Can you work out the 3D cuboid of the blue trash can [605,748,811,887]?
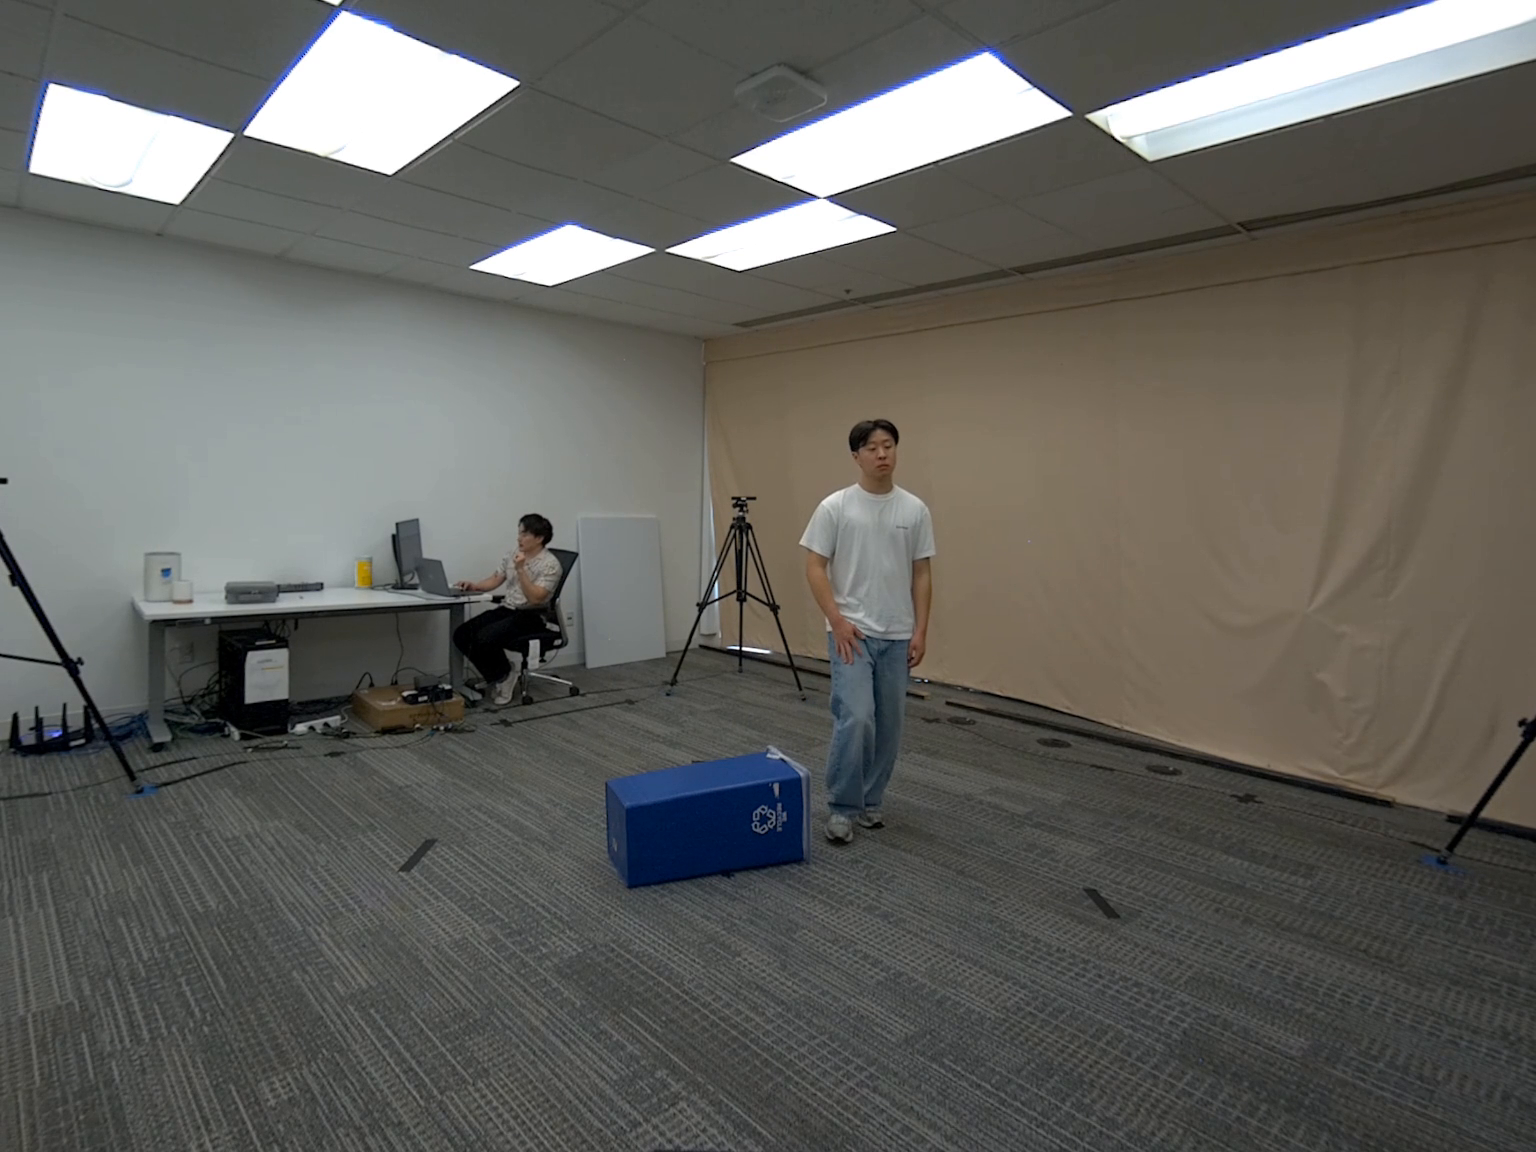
[{"bbox_3d":[-0.244,0.929,3.225,0.702,0.377,0.381,-4,5,-23],"label":"blue trash can"}]
